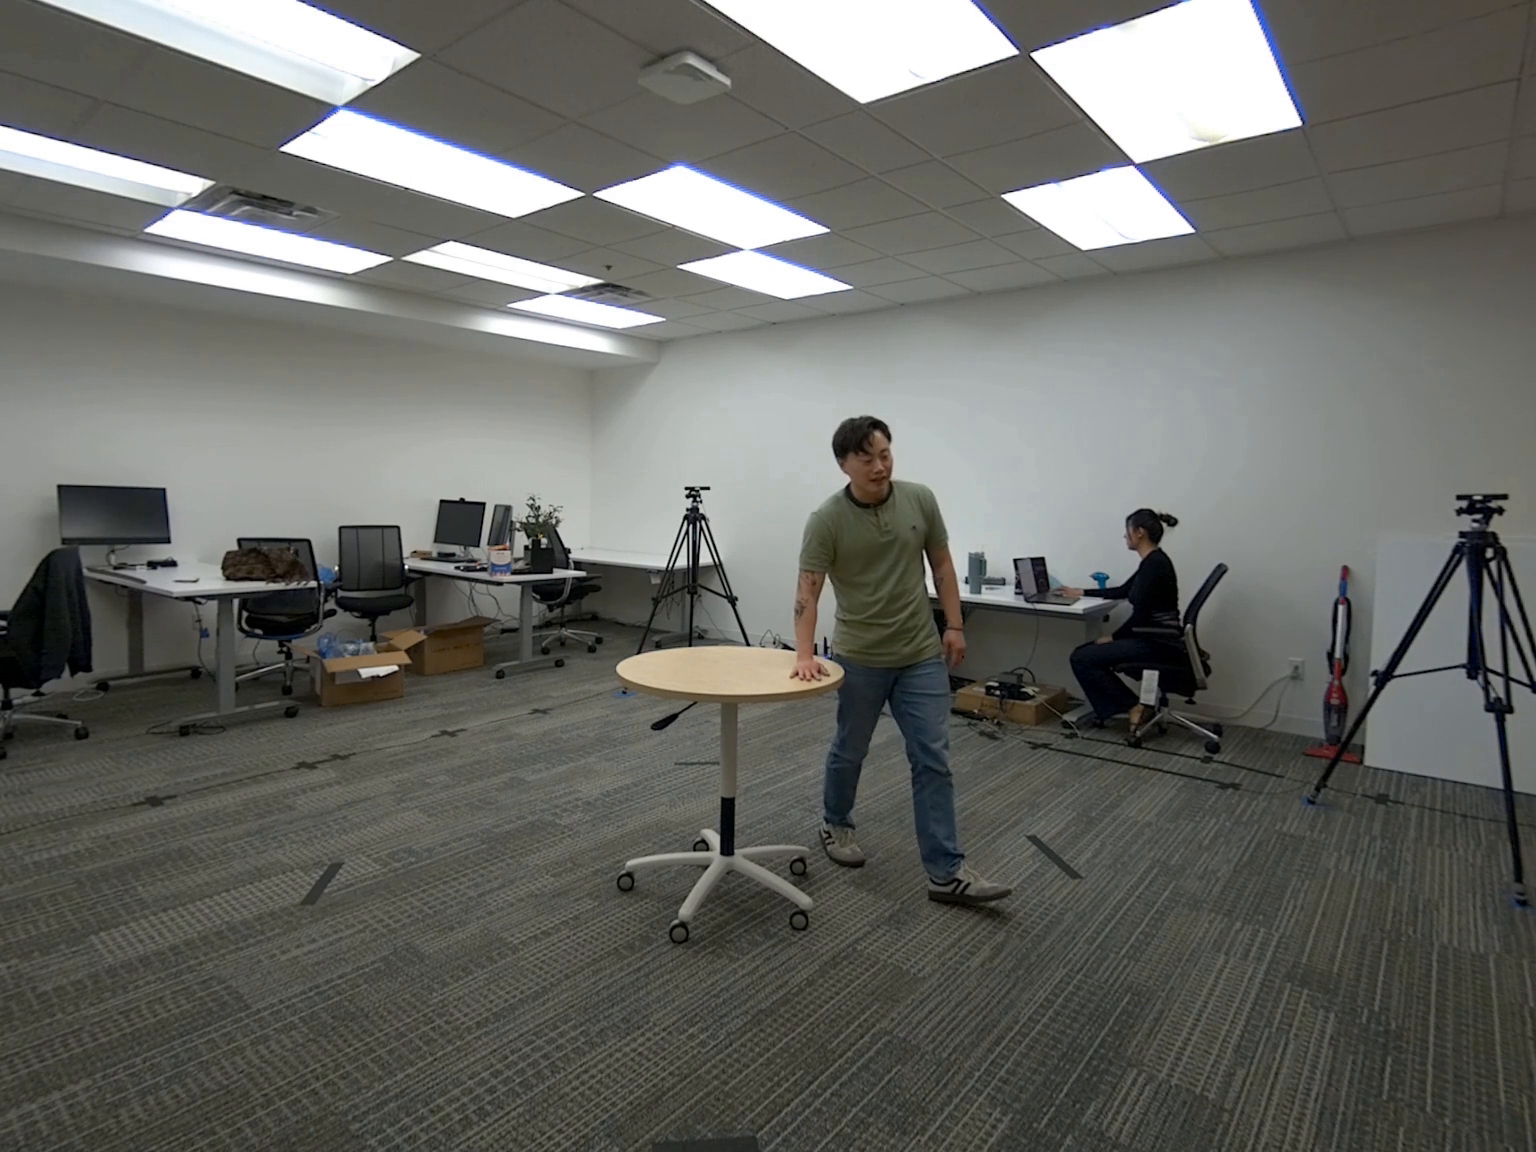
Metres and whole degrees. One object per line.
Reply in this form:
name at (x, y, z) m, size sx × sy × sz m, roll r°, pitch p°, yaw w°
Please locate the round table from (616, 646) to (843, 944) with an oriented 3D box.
round table at (-0.145, 0.700, 2.891) m, size 0.763 × 0.791 × 0.768 m, roll 1°, pitch 4°, yaw -2°
